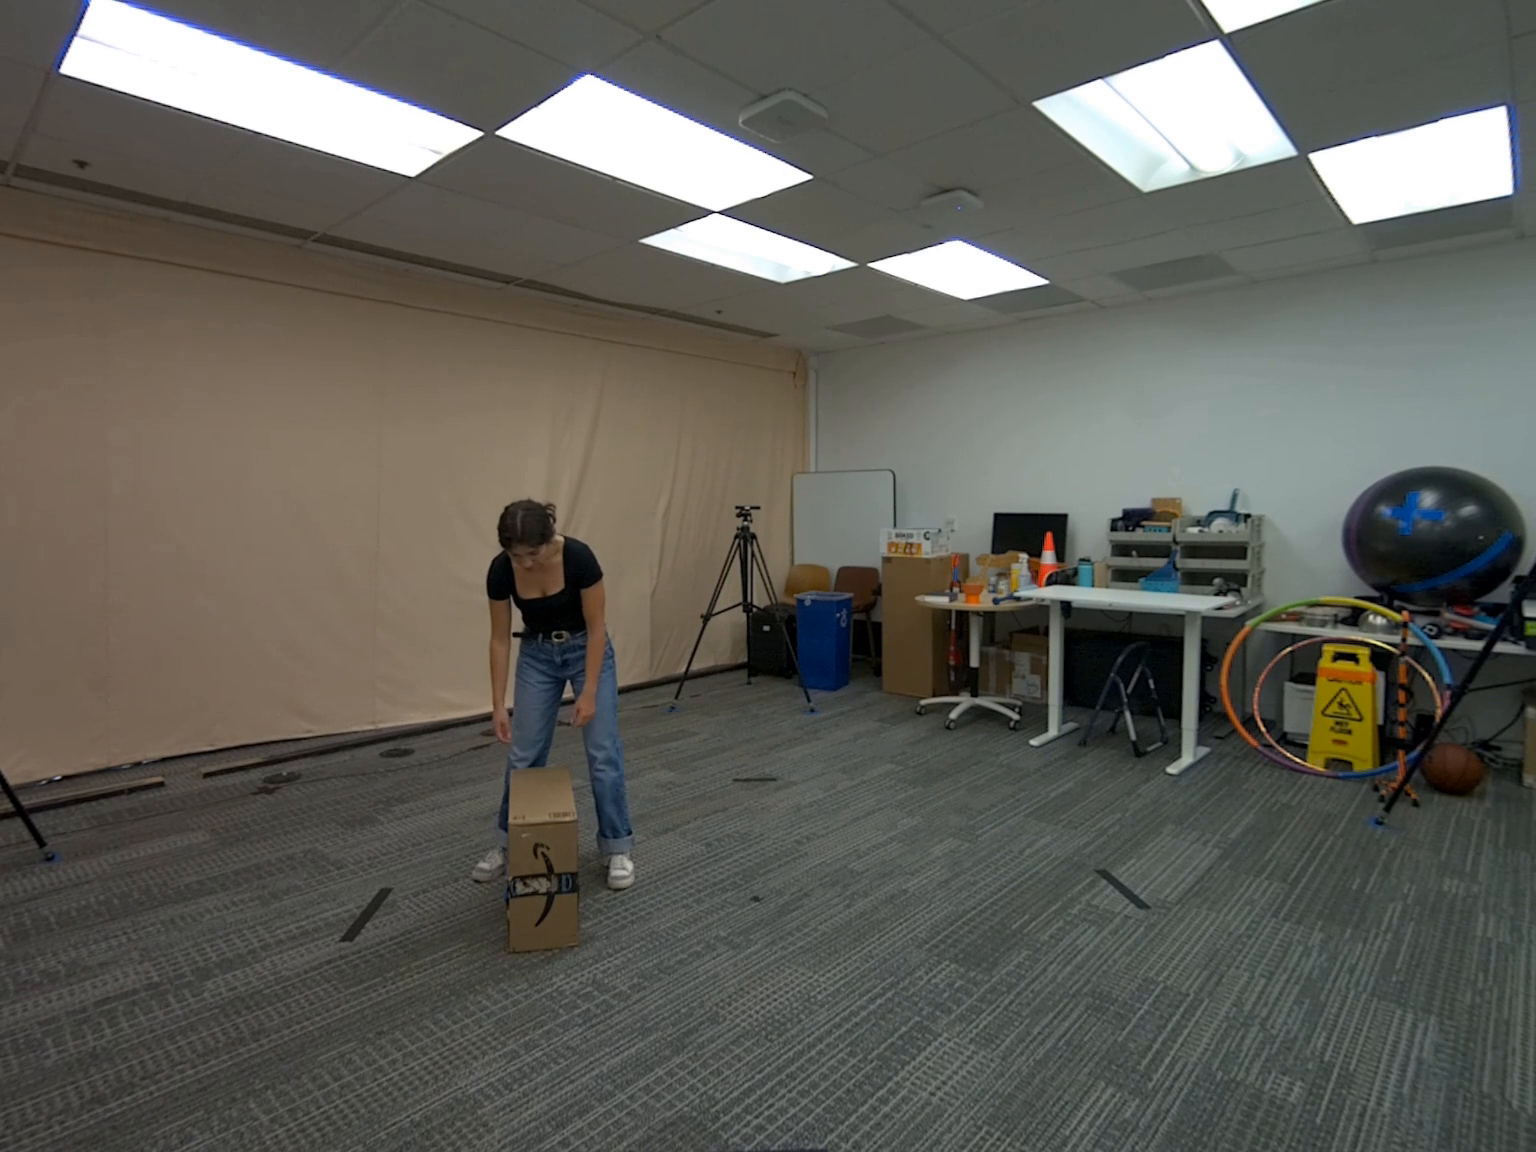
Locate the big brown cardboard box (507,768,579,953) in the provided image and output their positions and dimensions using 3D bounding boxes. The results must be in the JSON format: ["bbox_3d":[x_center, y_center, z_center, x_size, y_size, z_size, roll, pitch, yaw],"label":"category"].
[{"bbox_3d":[-0.781,0.949,2.898,0.230,0.417,0.599,0,3,-15],"label":"big brown cardboard box"}]
